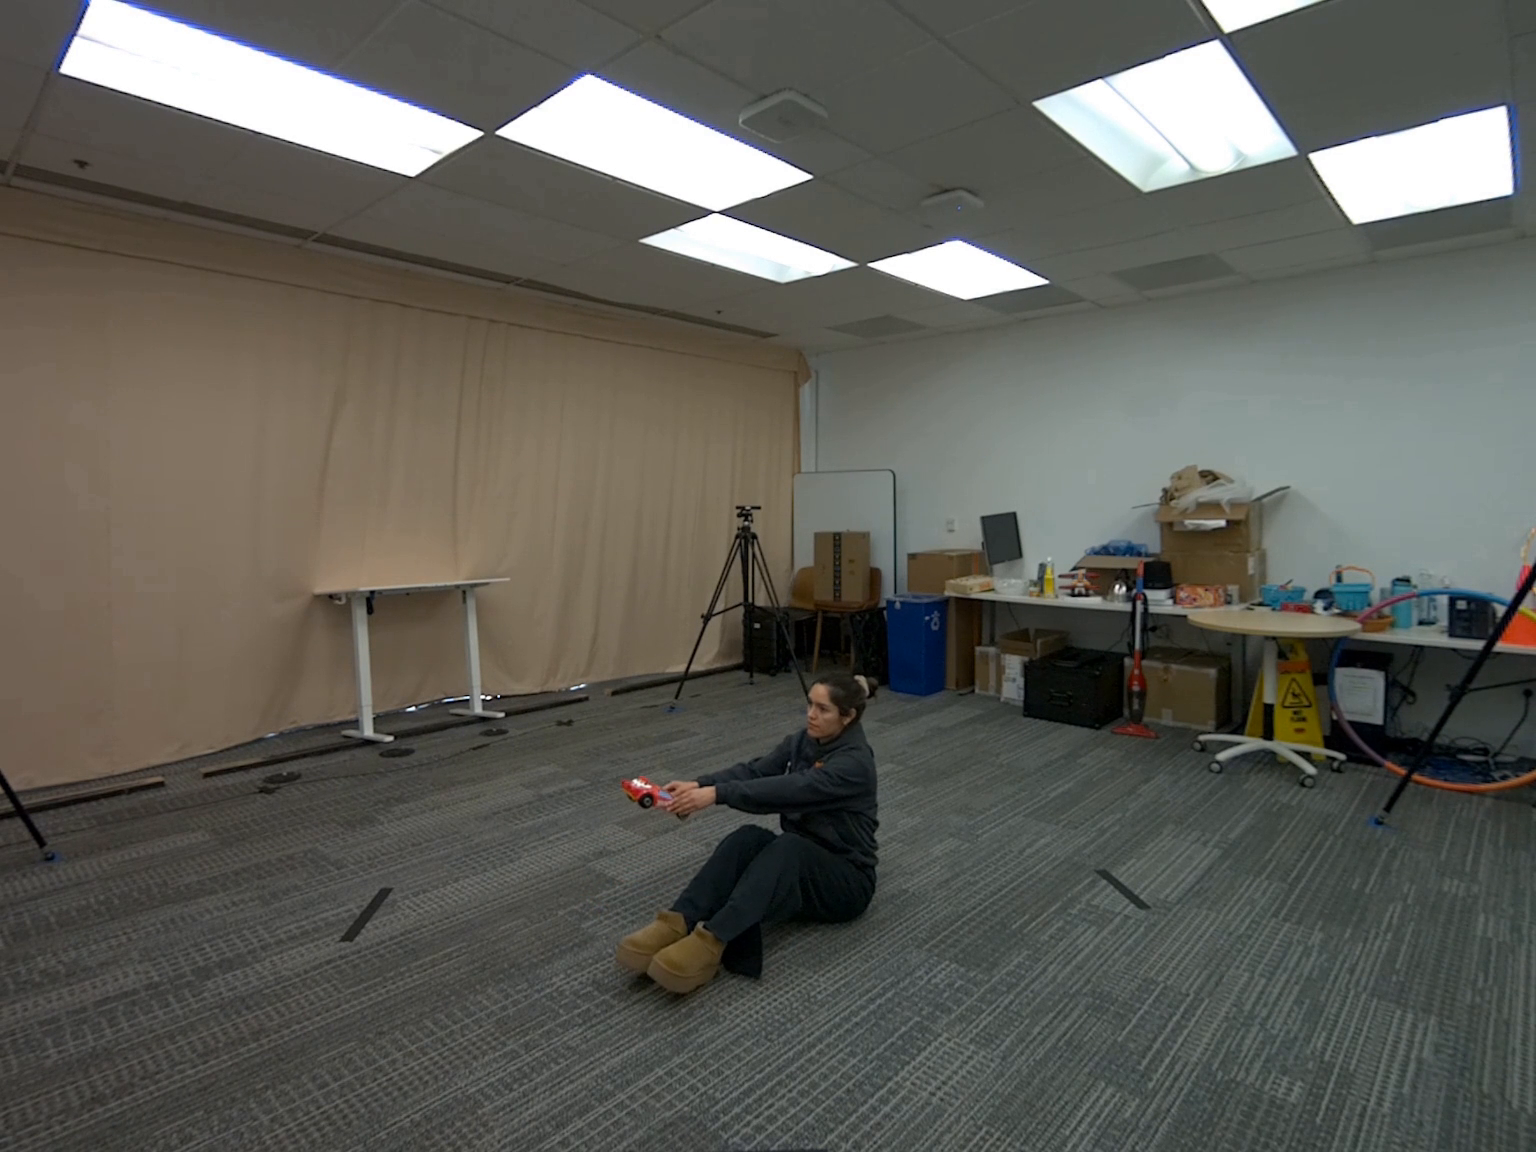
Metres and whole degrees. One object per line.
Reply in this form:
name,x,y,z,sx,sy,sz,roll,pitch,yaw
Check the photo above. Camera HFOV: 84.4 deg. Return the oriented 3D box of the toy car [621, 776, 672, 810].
toy car,-0.353,0.726,2.729,0.248,0.083,0.134,39,-17,-22
